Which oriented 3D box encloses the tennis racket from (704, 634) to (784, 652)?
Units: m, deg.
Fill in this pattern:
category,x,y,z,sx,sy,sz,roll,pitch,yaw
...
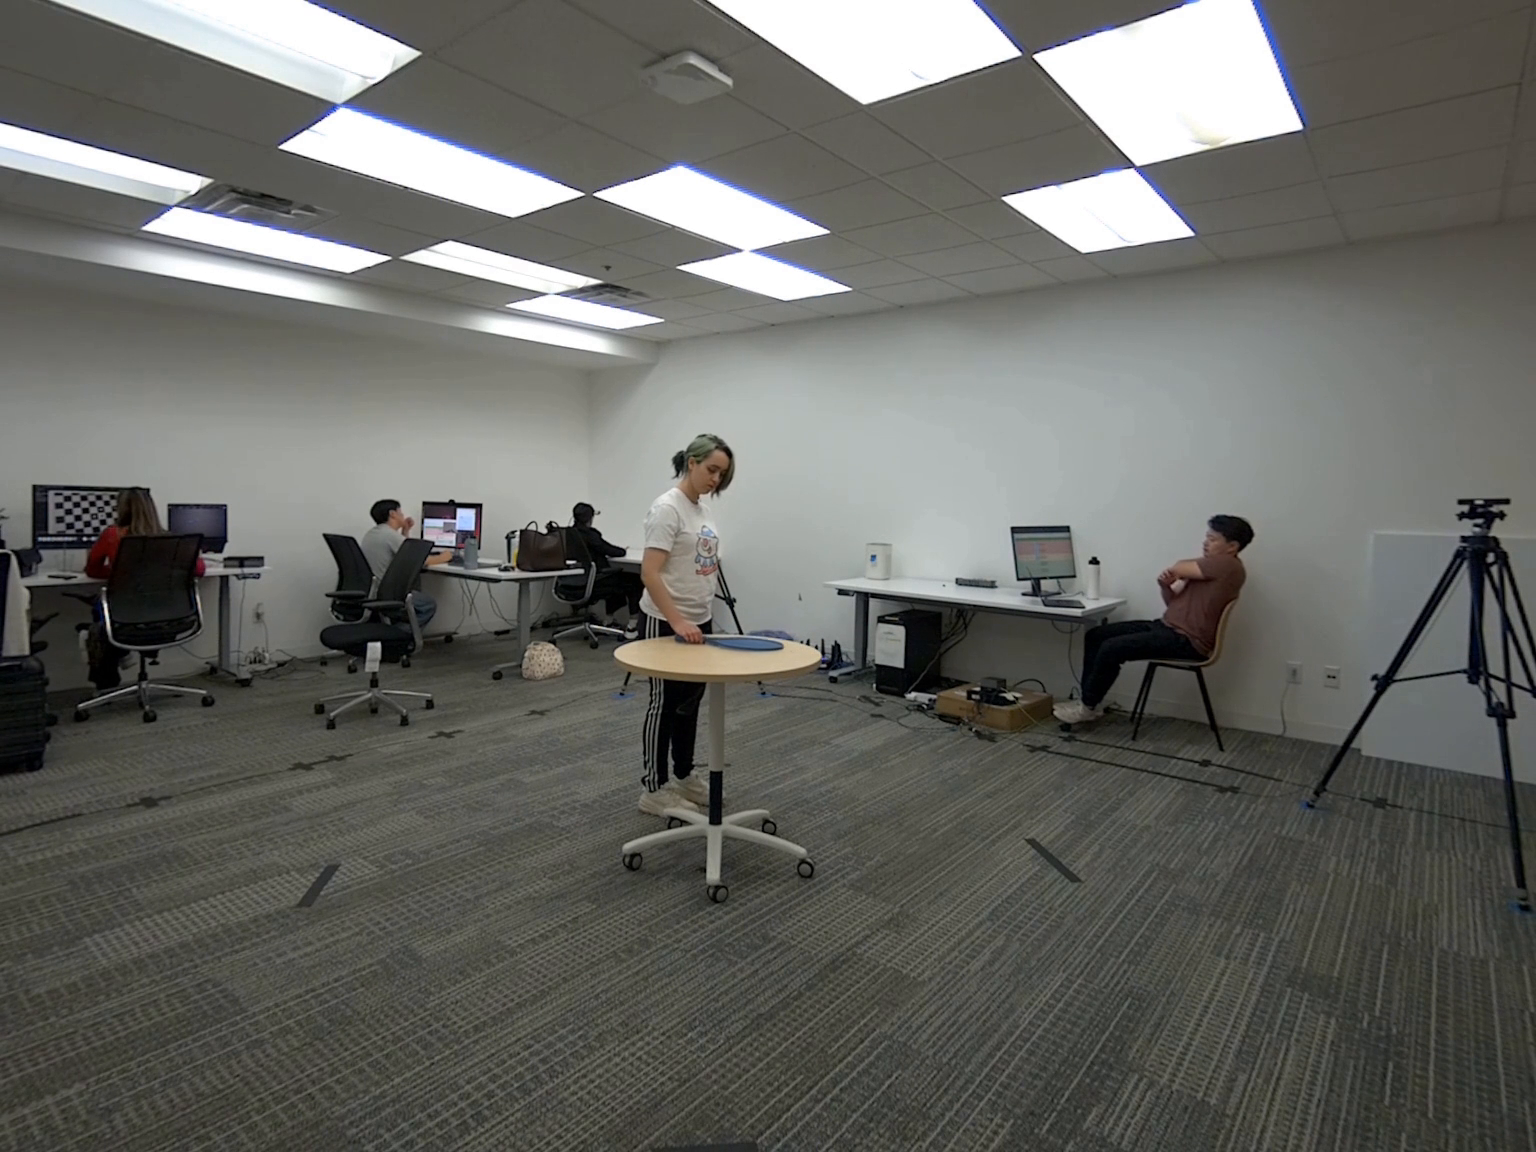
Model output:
category,x,y,z,sx,sy,sz,roll,pitch,yaw
tennis racket,-0.160,0.260,3.298,0.439,0.031,0.212,3,7,12
